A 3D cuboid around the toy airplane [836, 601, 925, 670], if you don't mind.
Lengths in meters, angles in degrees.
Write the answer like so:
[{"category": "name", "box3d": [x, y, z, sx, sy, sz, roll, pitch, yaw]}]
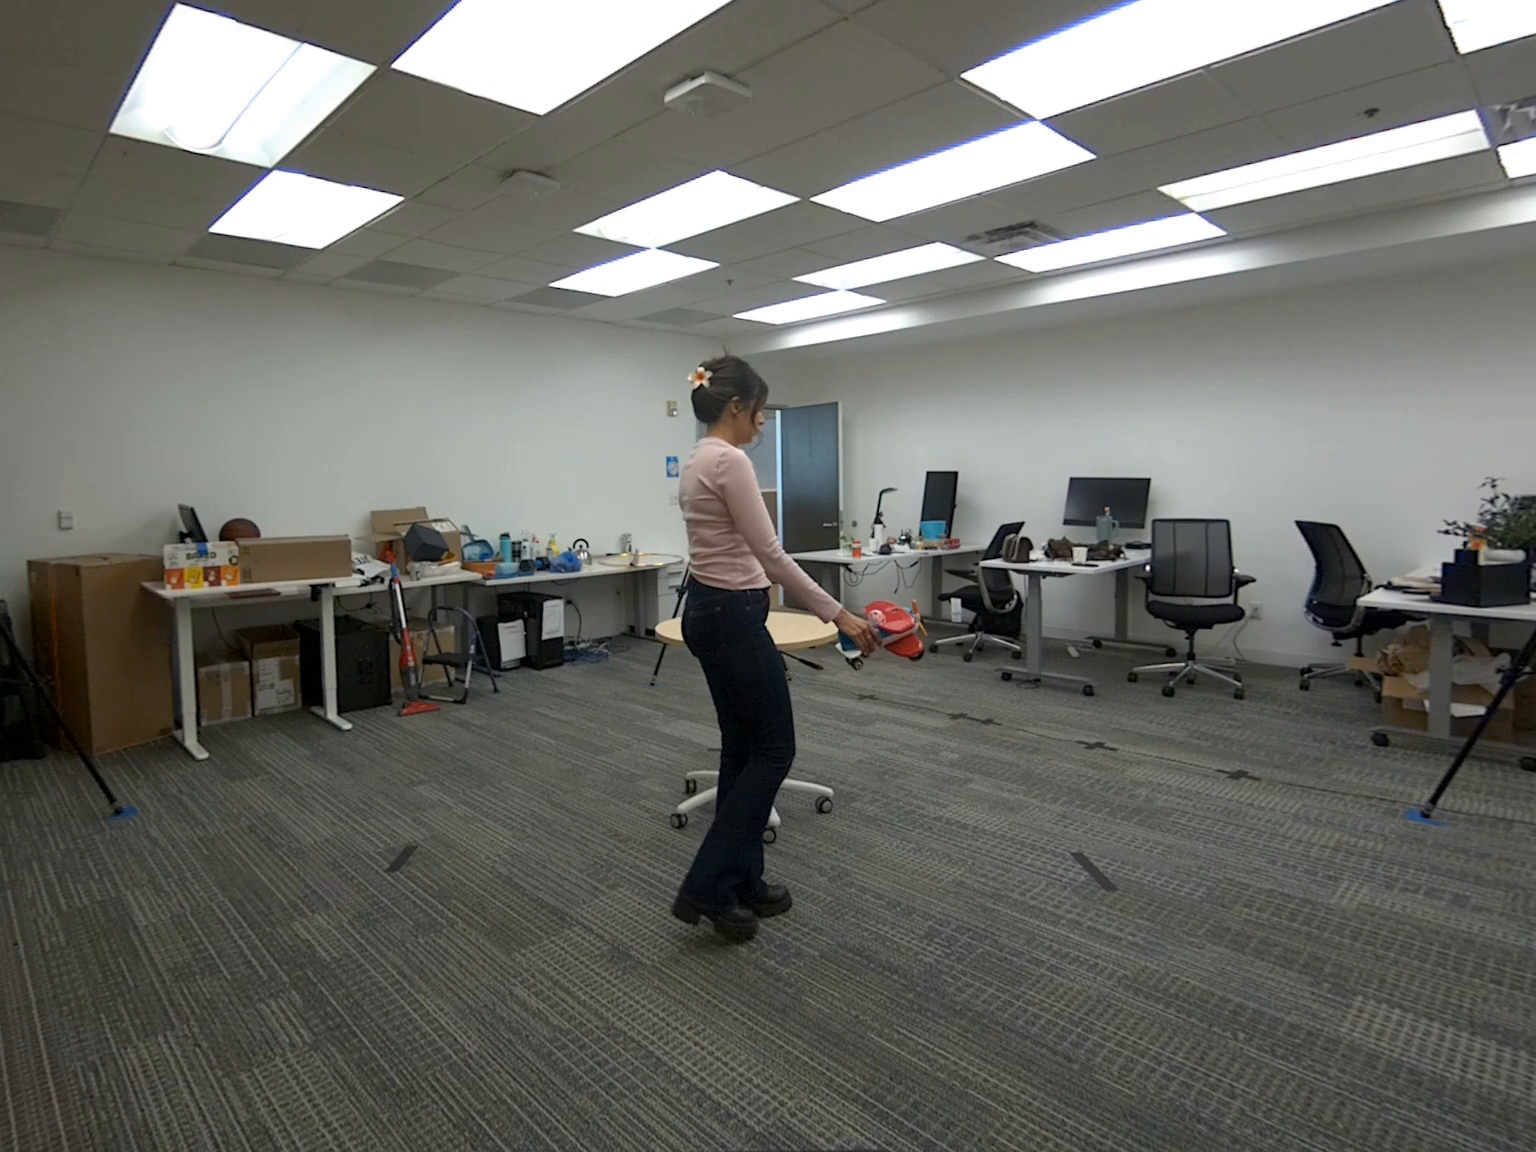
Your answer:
[{"category": "toy airplane", "box3d": [0.343, 0.187, 2.527, 0.254, 0.154, 0.259, -17, 19, -40]}]
